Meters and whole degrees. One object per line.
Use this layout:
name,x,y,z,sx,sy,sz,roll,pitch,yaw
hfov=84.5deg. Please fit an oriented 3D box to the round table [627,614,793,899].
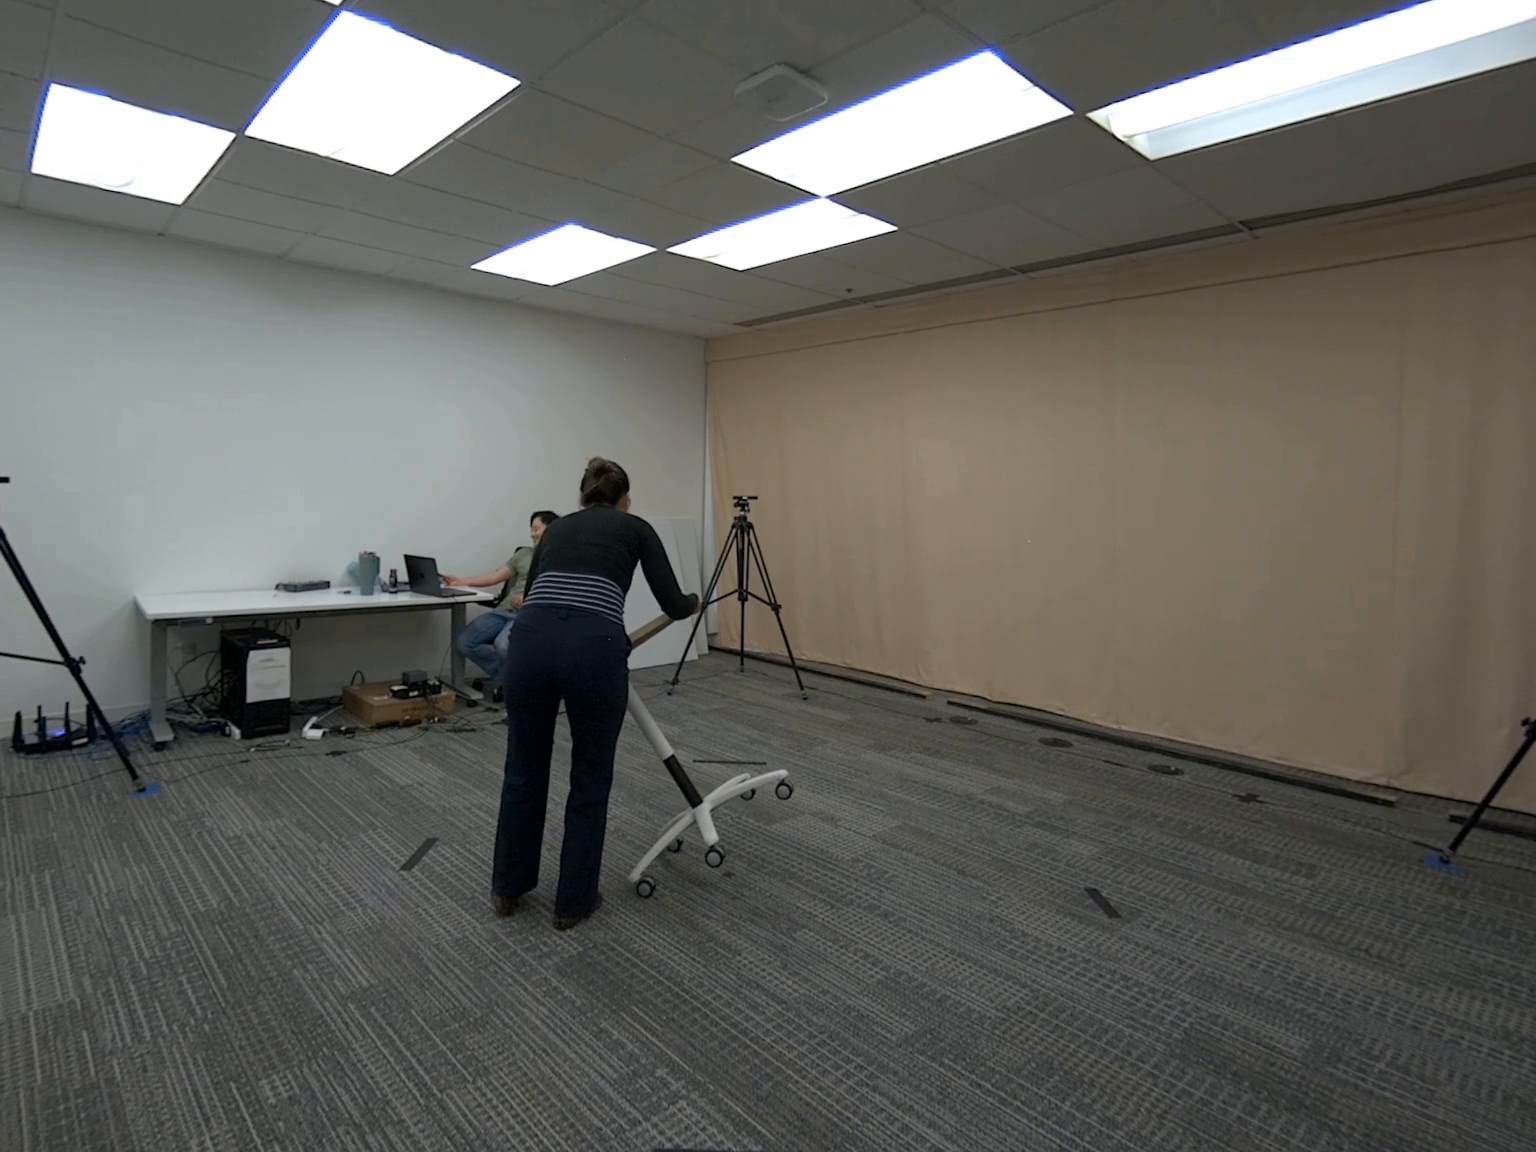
round table,-0.388,0.631,3.095,0.763,0.797,0.762,-33,-2,-3
